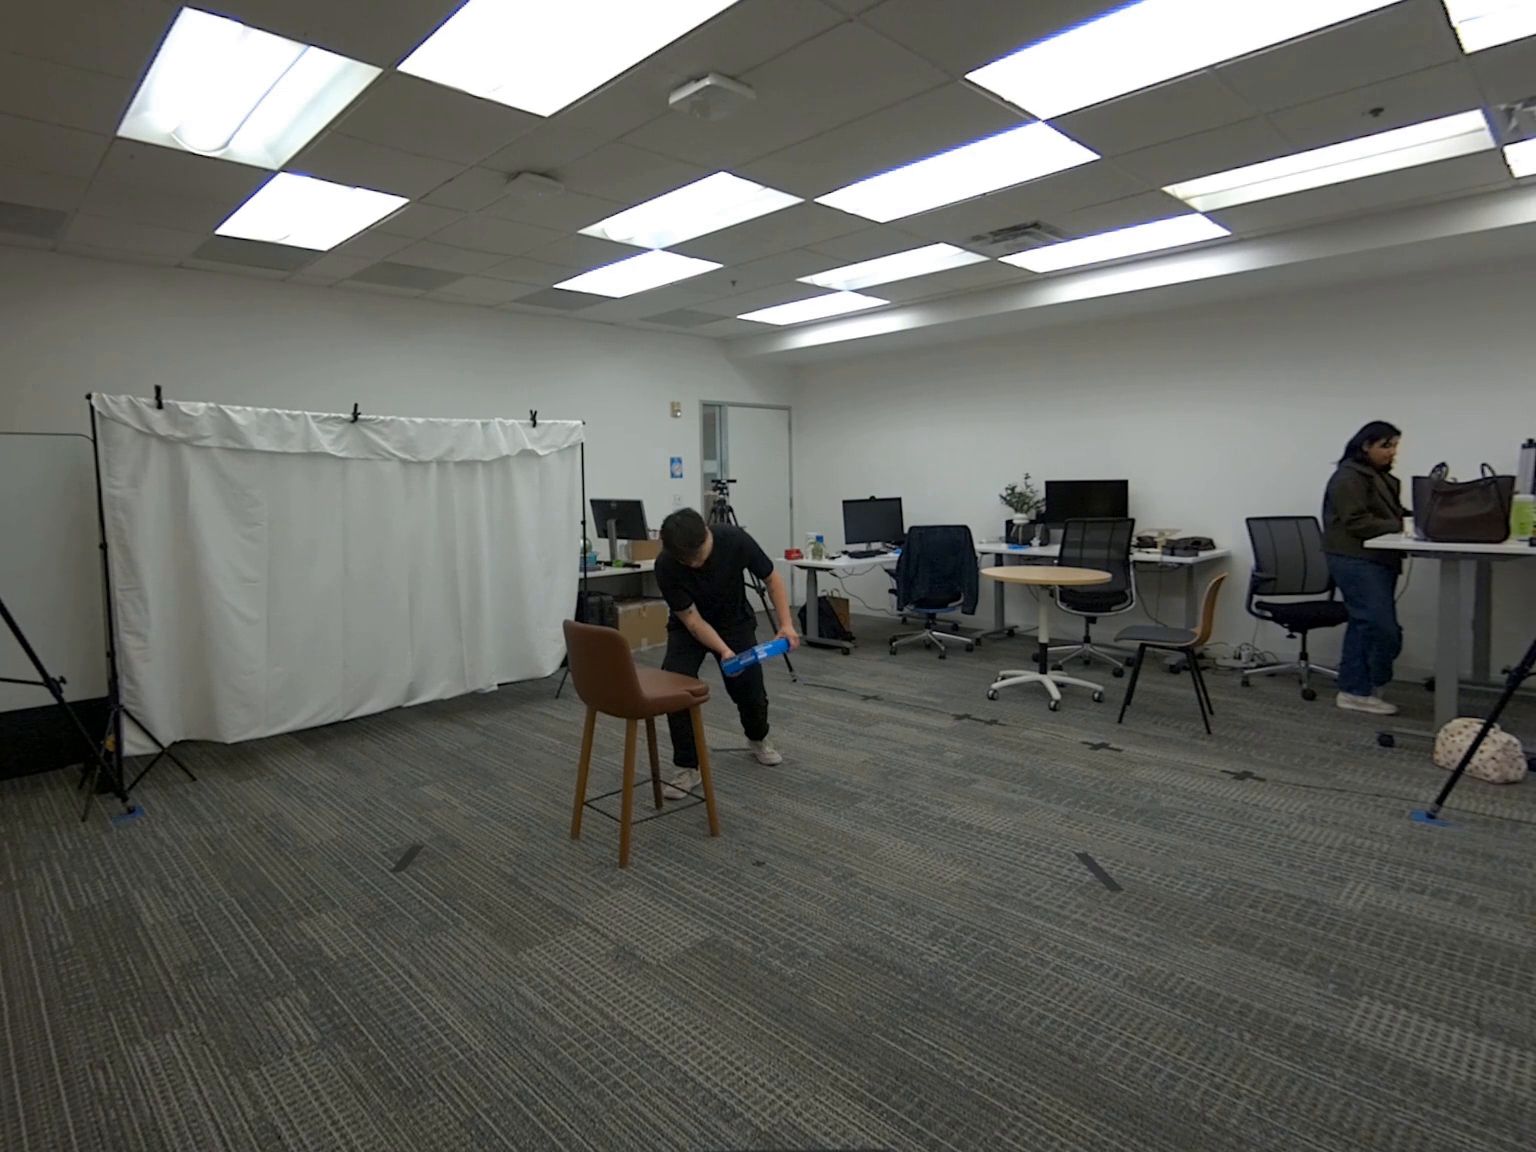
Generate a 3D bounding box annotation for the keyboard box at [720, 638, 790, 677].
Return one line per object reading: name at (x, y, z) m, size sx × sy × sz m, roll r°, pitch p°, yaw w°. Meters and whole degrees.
keyboard box at (-0.029, 0.340, 3.699) m, size 0.178 × 0.060 × 0.427 m, roll -25°, pitch -7°, yaw 23°
